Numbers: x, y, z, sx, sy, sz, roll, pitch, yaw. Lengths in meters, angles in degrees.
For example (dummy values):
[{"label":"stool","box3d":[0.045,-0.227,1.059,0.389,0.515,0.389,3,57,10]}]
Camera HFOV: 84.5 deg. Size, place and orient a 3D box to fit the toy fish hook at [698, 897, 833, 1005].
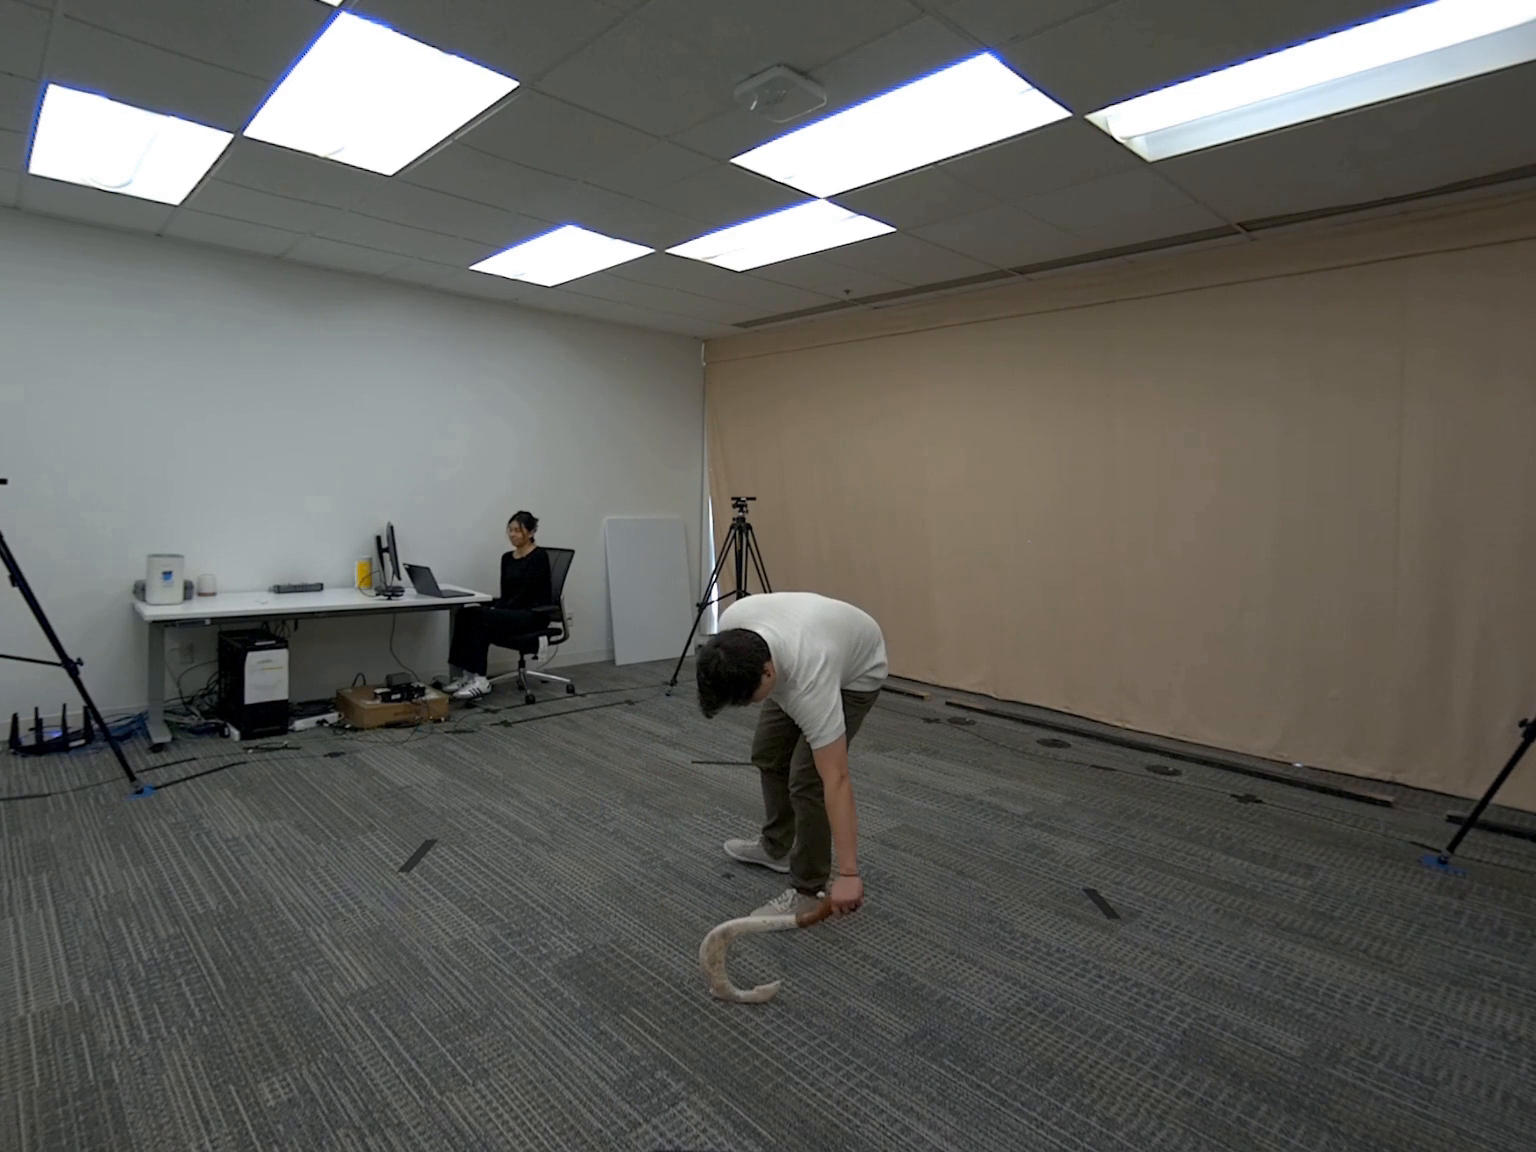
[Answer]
[{"label":"toy fish hook","box3d":[0.047,1.023,2.333,0.508,0.226,0.048,-24,-6,8]}]
